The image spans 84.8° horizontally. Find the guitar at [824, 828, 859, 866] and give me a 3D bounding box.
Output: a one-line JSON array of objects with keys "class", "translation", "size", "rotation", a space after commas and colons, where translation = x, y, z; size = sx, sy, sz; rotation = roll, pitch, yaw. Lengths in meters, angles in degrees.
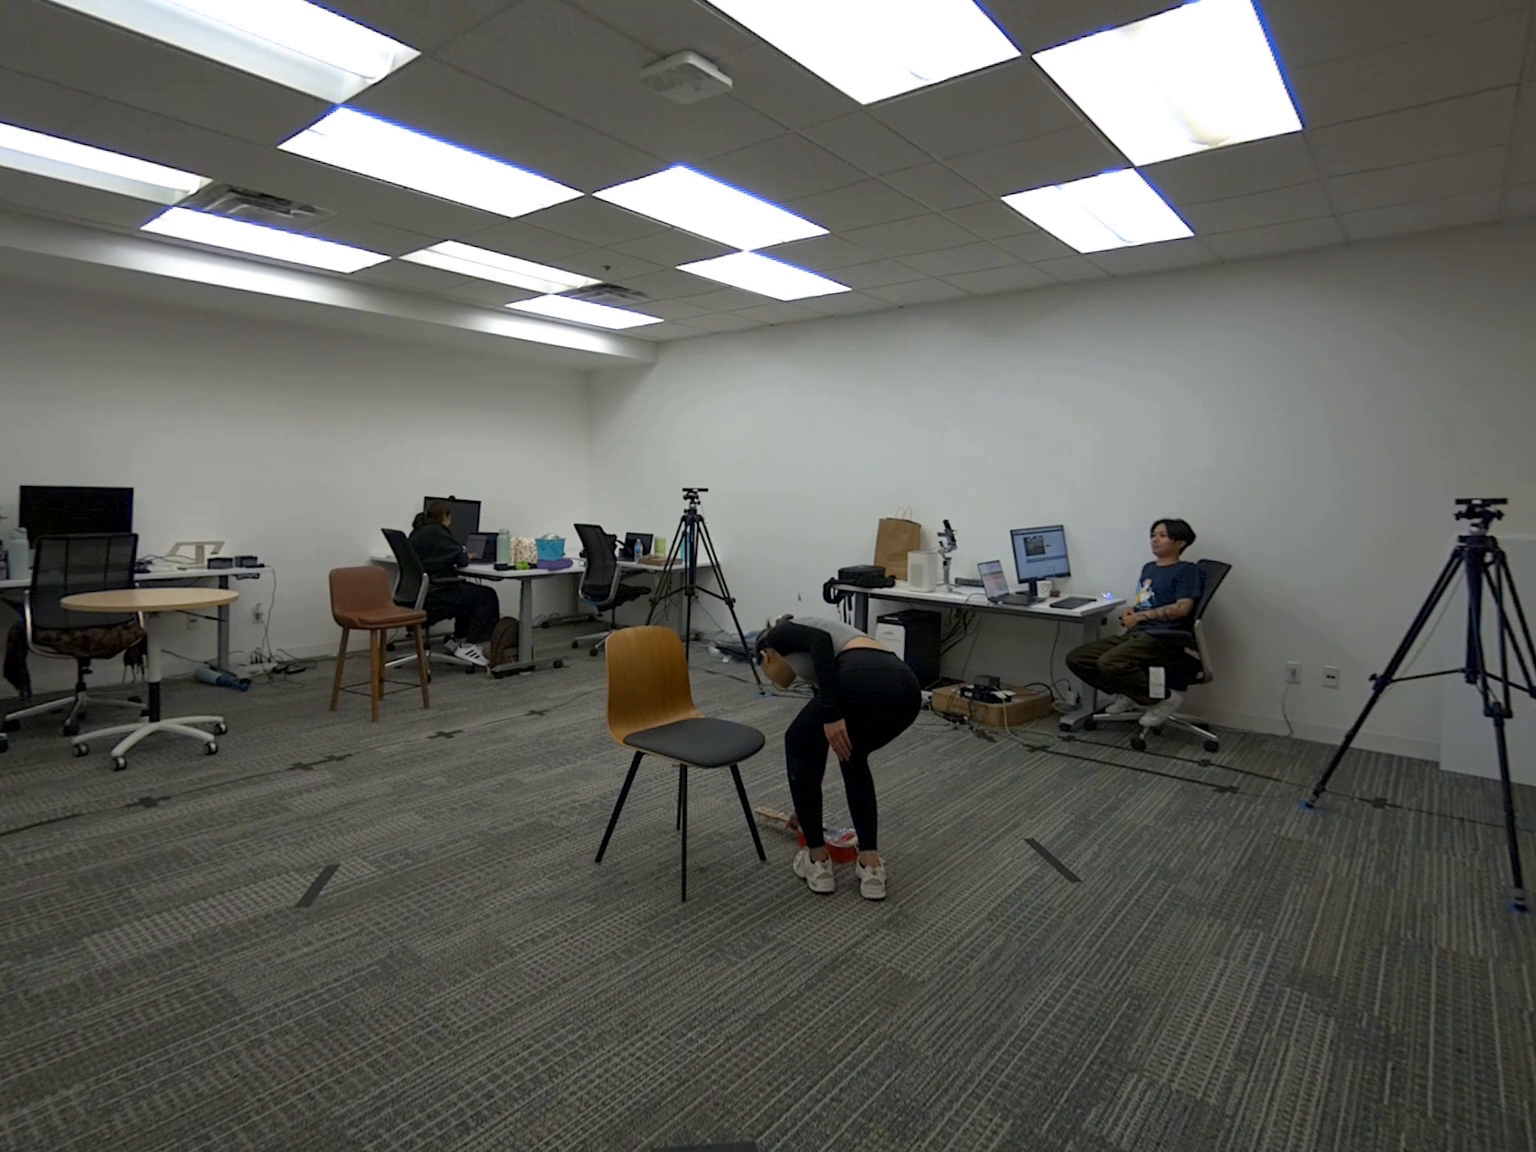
[{"class": "guitar", "translation": [0.163, 1.011, 3.414], "size": [0.187, 0.070, 0.515], "rotation": [-3, 7, -44]}]
